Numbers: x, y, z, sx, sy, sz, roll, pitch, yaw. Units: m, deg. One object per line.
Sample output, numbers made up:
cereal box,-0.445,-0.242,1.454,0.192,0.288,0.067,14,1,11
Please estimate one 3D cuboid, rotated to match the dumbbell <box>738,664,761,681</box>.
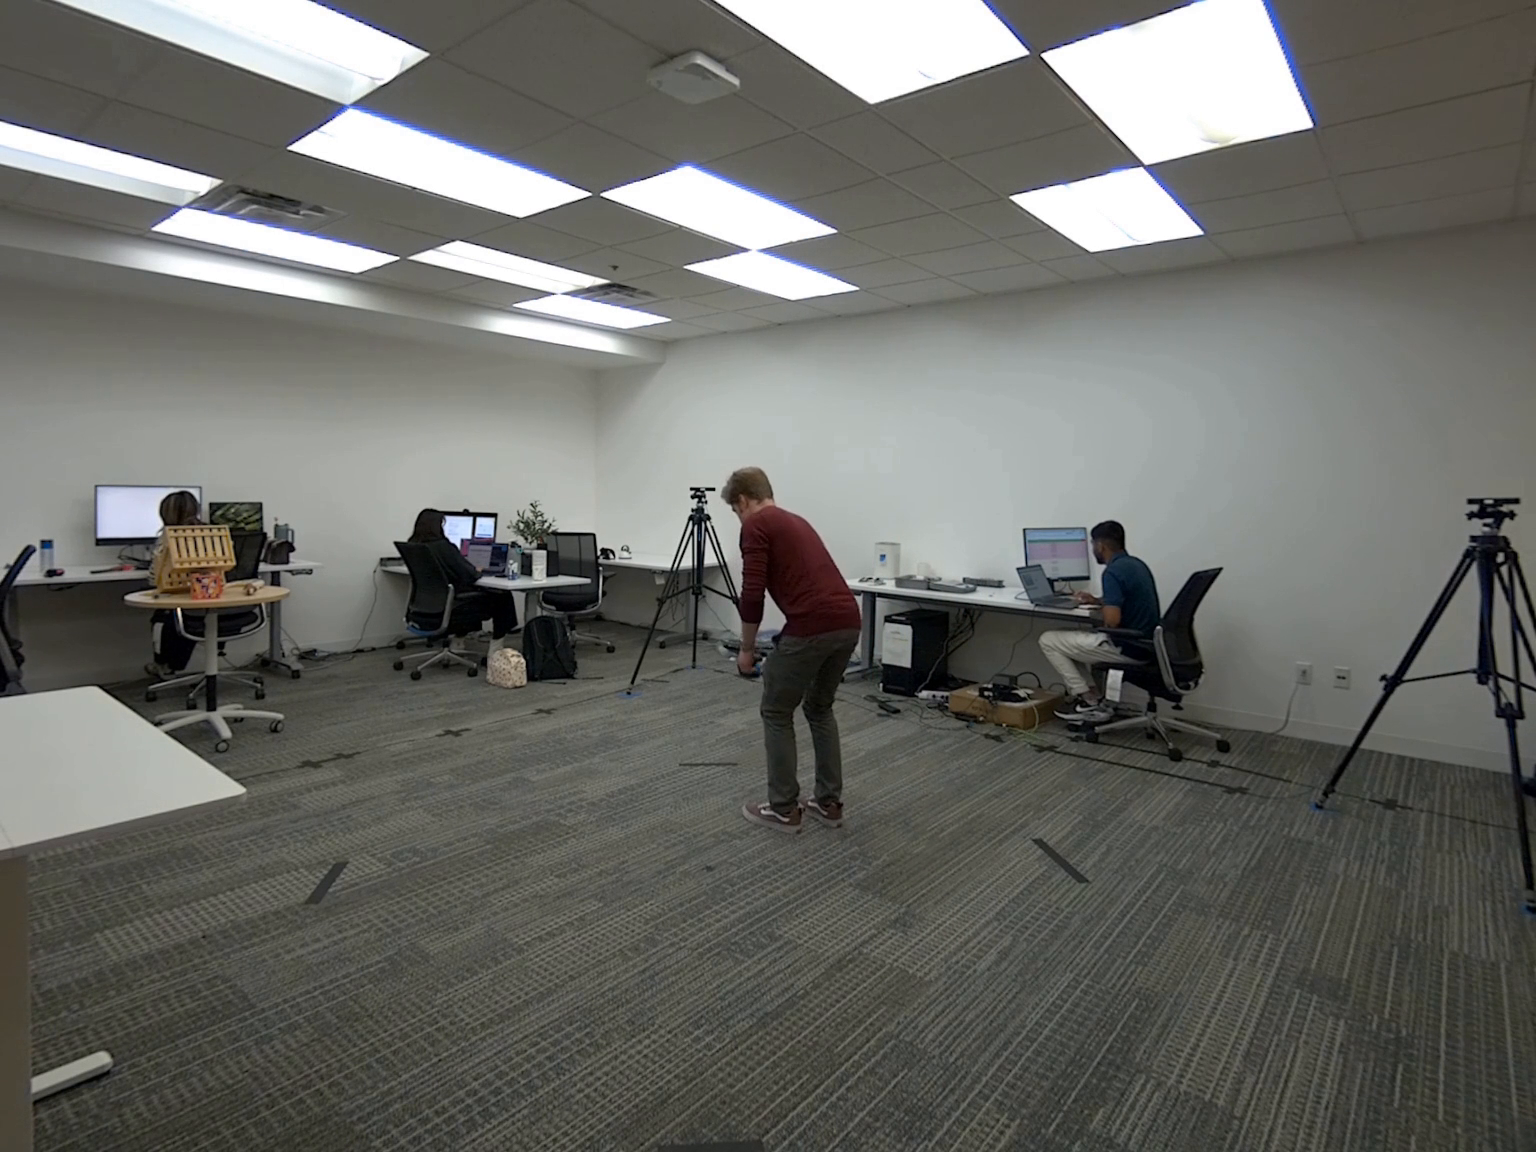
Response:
dumbbell,-0.013,0.425,3.814,0.304,0.123,0.104,11,-29,43
